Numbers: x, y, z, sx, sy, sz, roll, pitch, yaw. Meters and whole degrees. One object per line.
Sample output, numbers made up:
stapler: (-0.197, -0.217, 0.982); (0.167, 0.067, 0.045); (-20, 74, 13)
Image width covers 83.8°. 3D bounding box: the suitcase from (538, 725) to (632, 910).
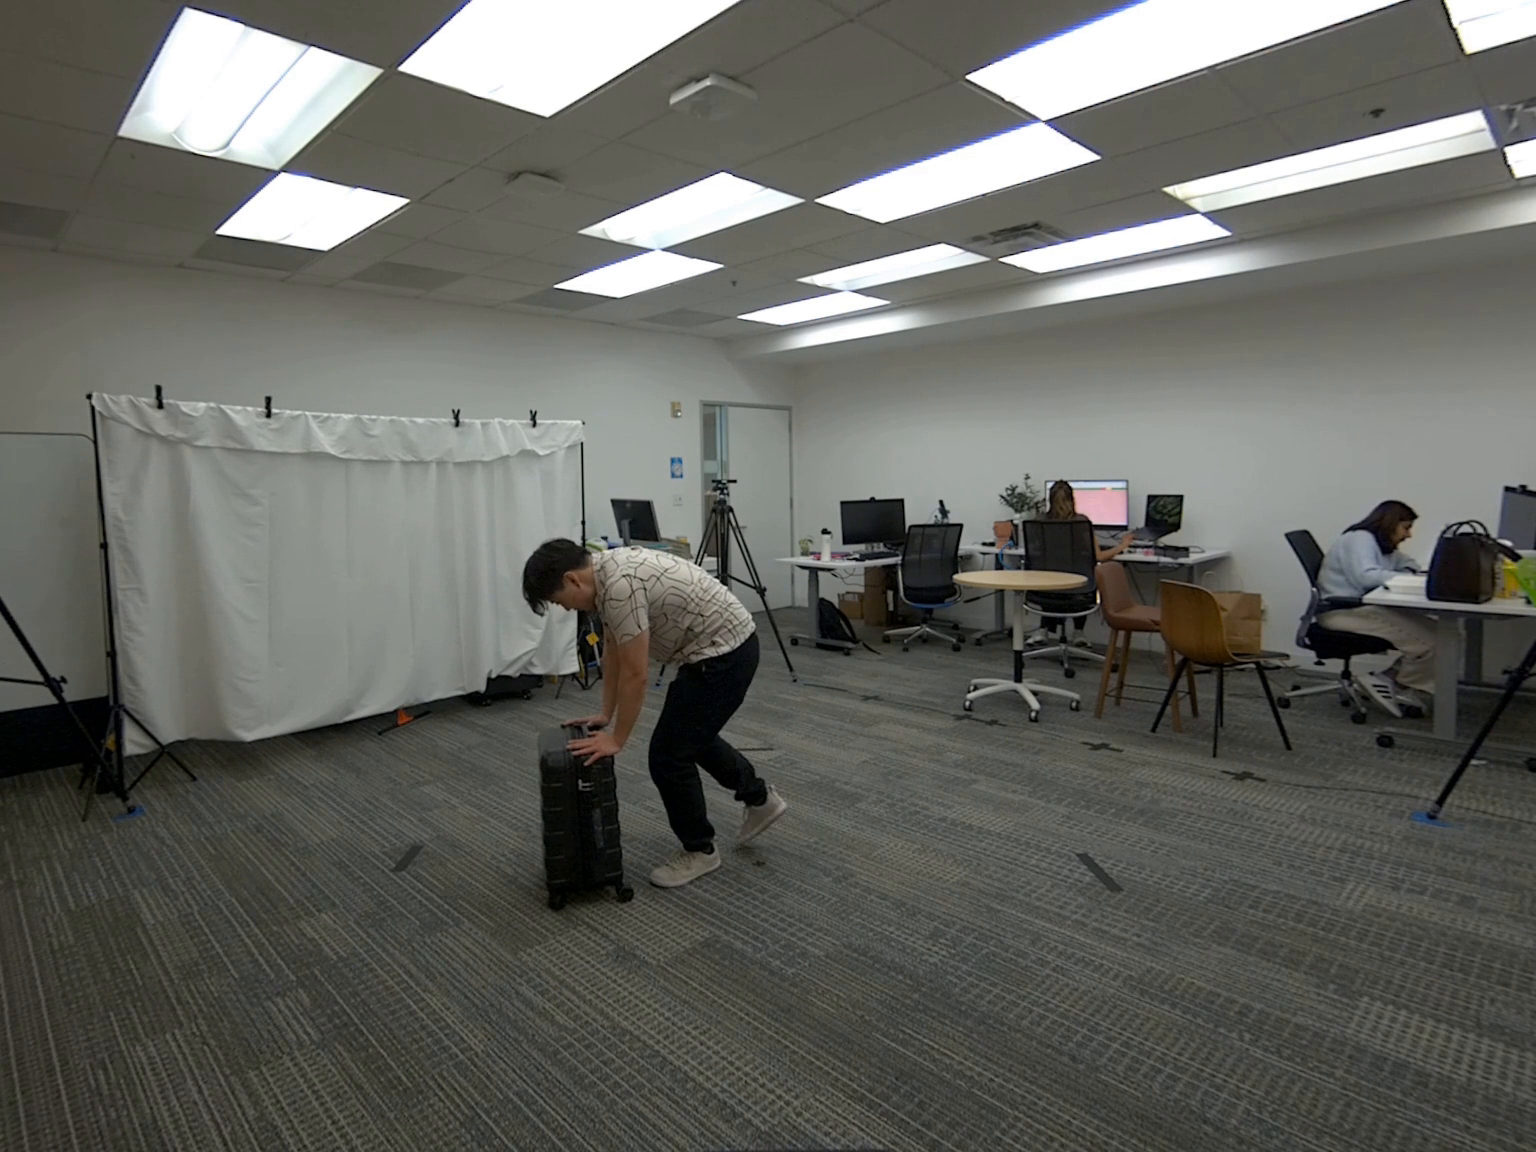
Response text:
suitcase: (-0.655, 0.803, 2.946); (0.245, 0.546, 0.382); (-3, 6, -15)
